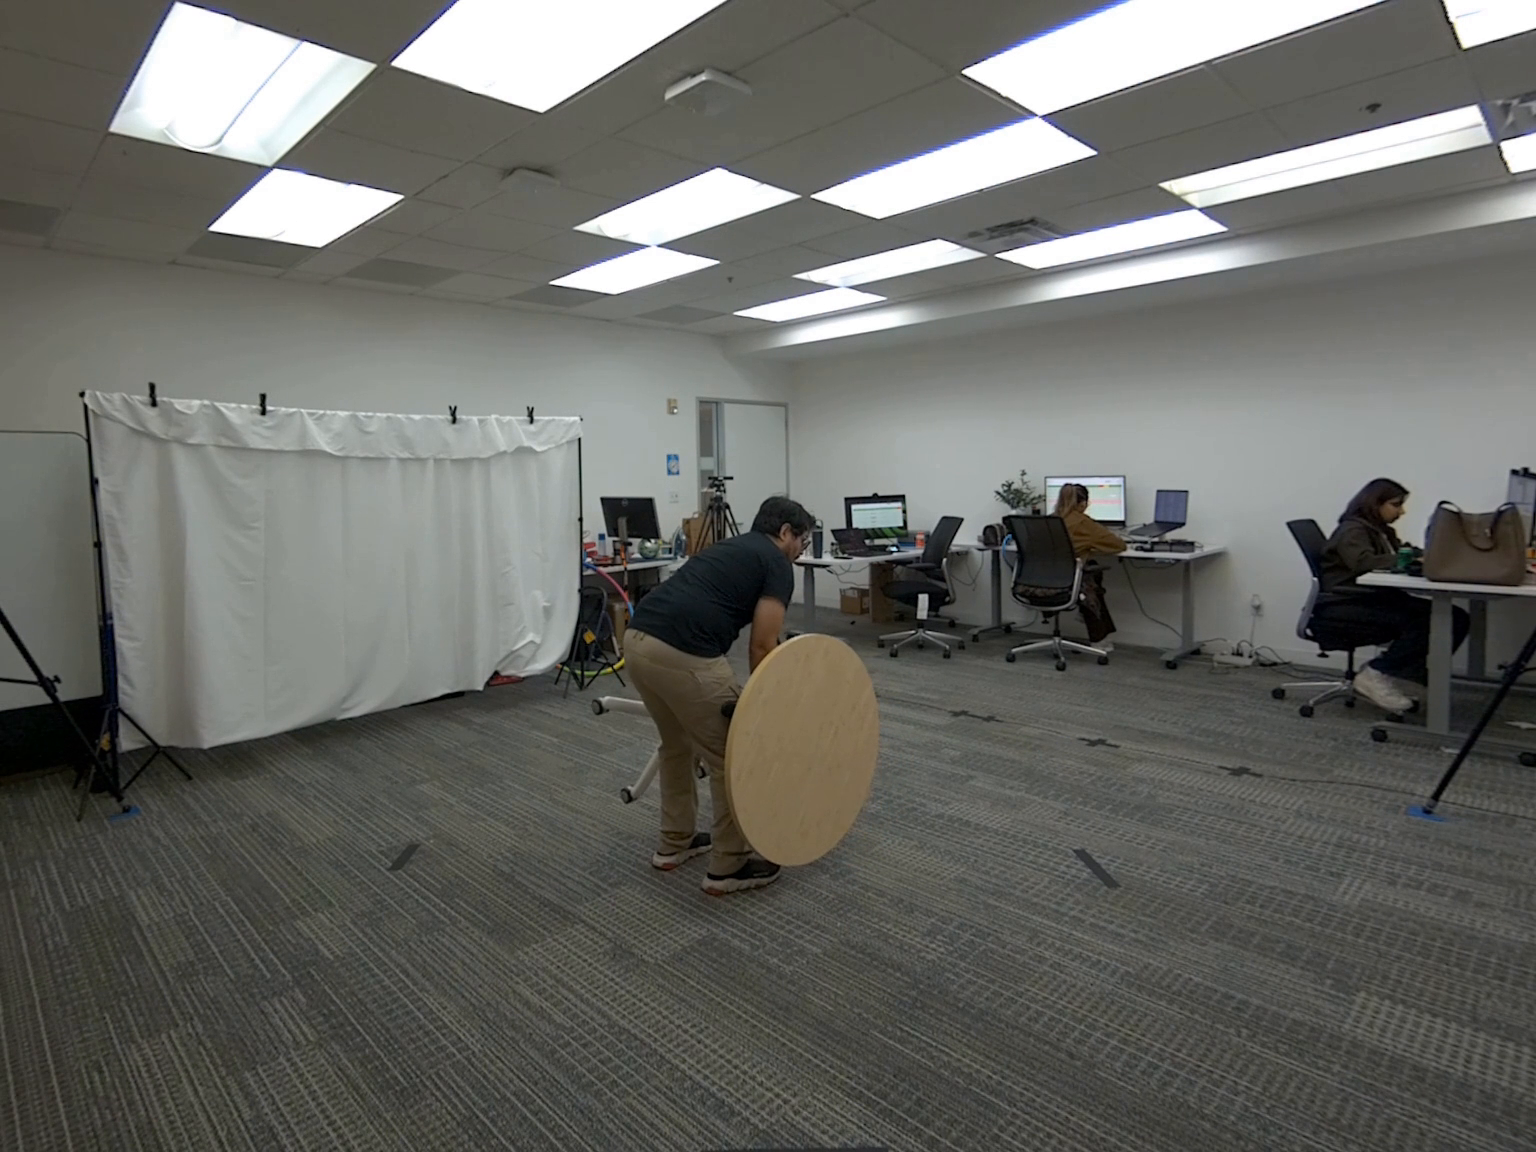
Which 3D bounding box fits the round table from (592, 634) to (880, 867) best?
[{"bbox_3d":[-0.141,0.560,3.165,0.810,0.782,0.764,3,6,44],"label":"round table"}]
